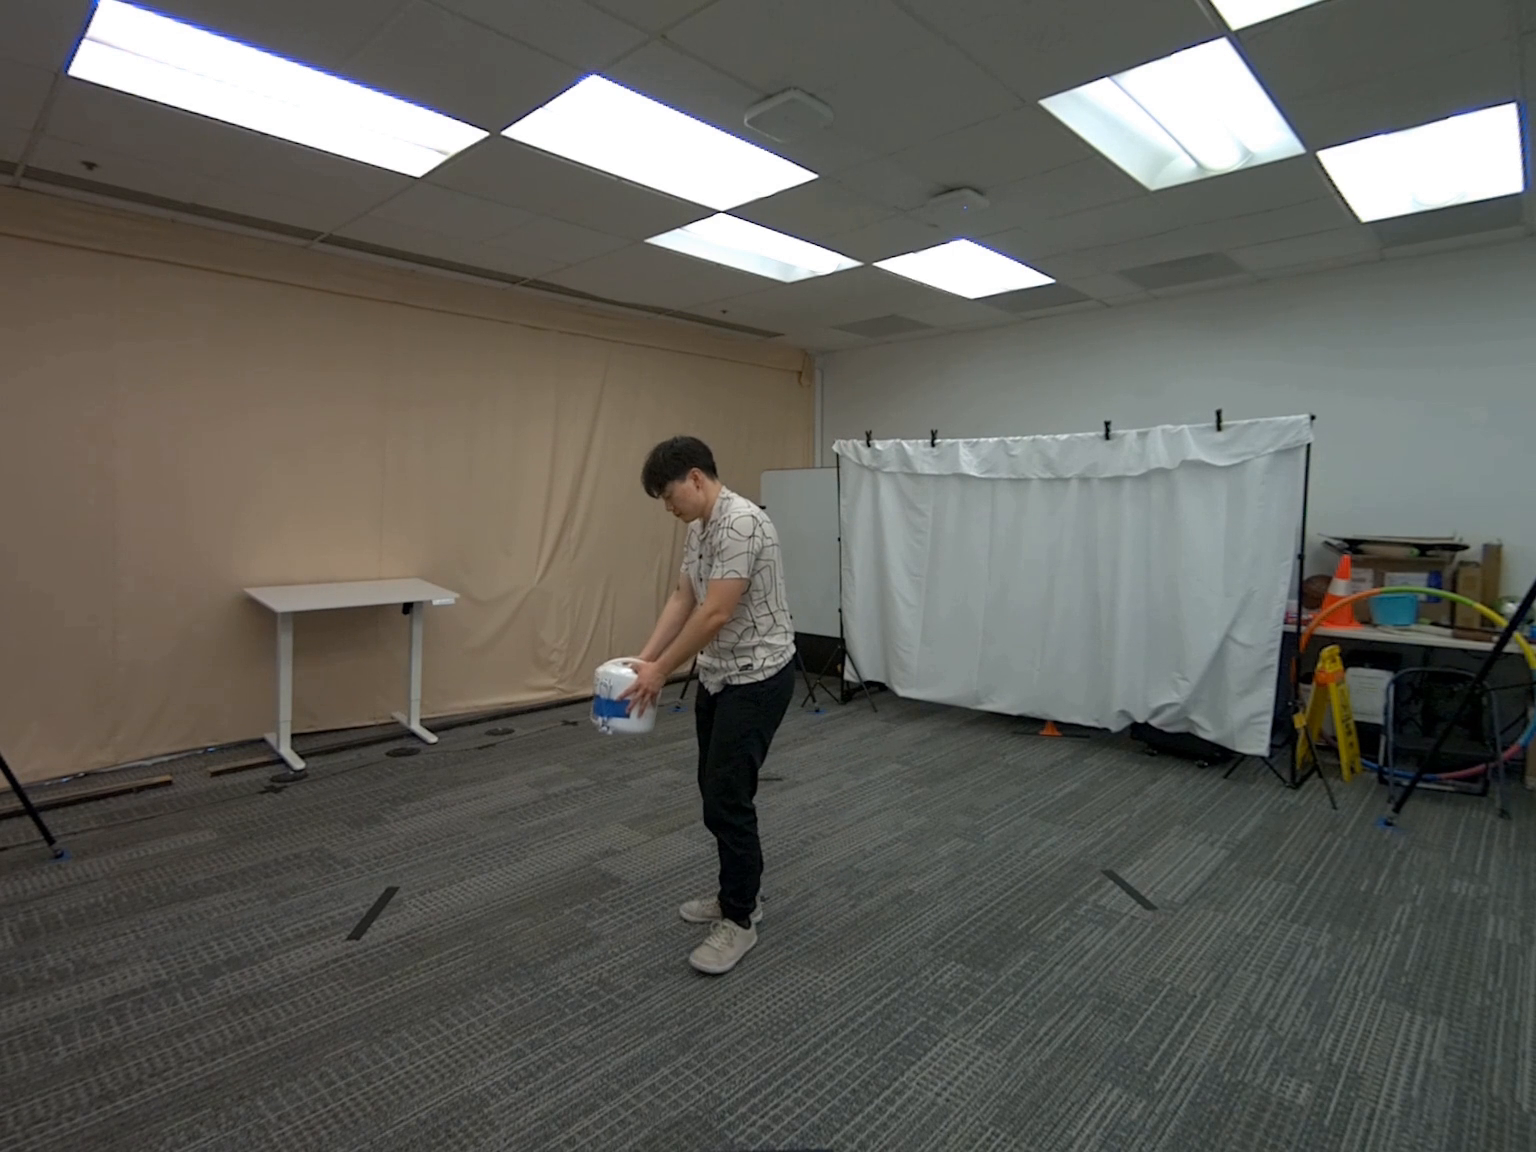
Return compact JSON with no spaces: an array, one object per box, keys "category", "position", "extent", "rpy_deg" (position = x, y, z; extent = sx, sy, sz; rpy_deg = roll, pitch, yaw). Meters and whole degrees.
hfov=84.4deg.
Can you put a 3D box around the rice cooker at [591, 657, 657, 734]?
[{"category":"rice cooker","position":[-0.451,0.377,2.685],"extent":[0.216,0.233,0.222],"rpy_deg":[11,0,-19]}]
